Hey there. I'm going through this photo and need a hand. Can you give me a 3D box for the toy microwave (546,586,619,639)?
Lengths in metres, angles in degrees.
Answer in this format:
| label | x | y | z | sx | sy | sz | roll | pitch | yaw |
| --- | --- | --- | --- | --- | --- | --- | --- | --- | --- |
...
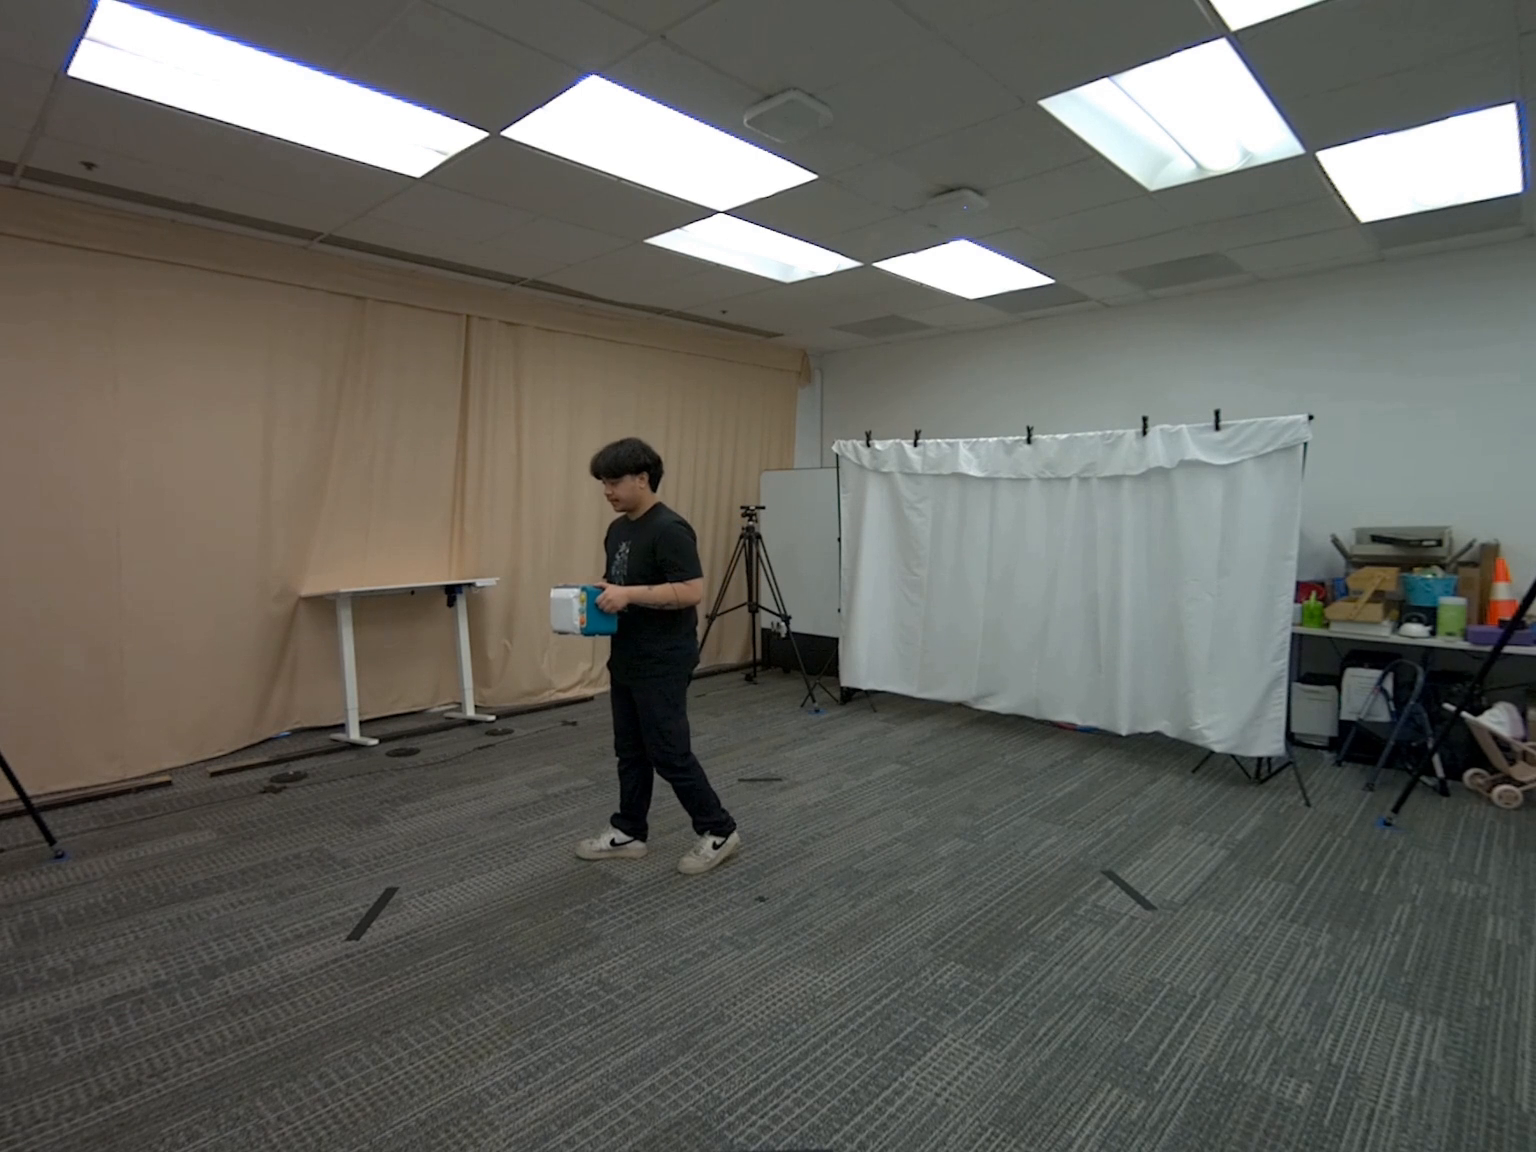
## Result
| label | x | y | z | sx | sy | sz | roll | pitch | yaw |
| --- | --- | --- | --- | --- | --- | --- | --- | --- | --- |
| toy microwave | -0.682 | 0.128 | 3.119 | 0.147 | 0.184 | 0.295 | 3 | -3 | -40 |
